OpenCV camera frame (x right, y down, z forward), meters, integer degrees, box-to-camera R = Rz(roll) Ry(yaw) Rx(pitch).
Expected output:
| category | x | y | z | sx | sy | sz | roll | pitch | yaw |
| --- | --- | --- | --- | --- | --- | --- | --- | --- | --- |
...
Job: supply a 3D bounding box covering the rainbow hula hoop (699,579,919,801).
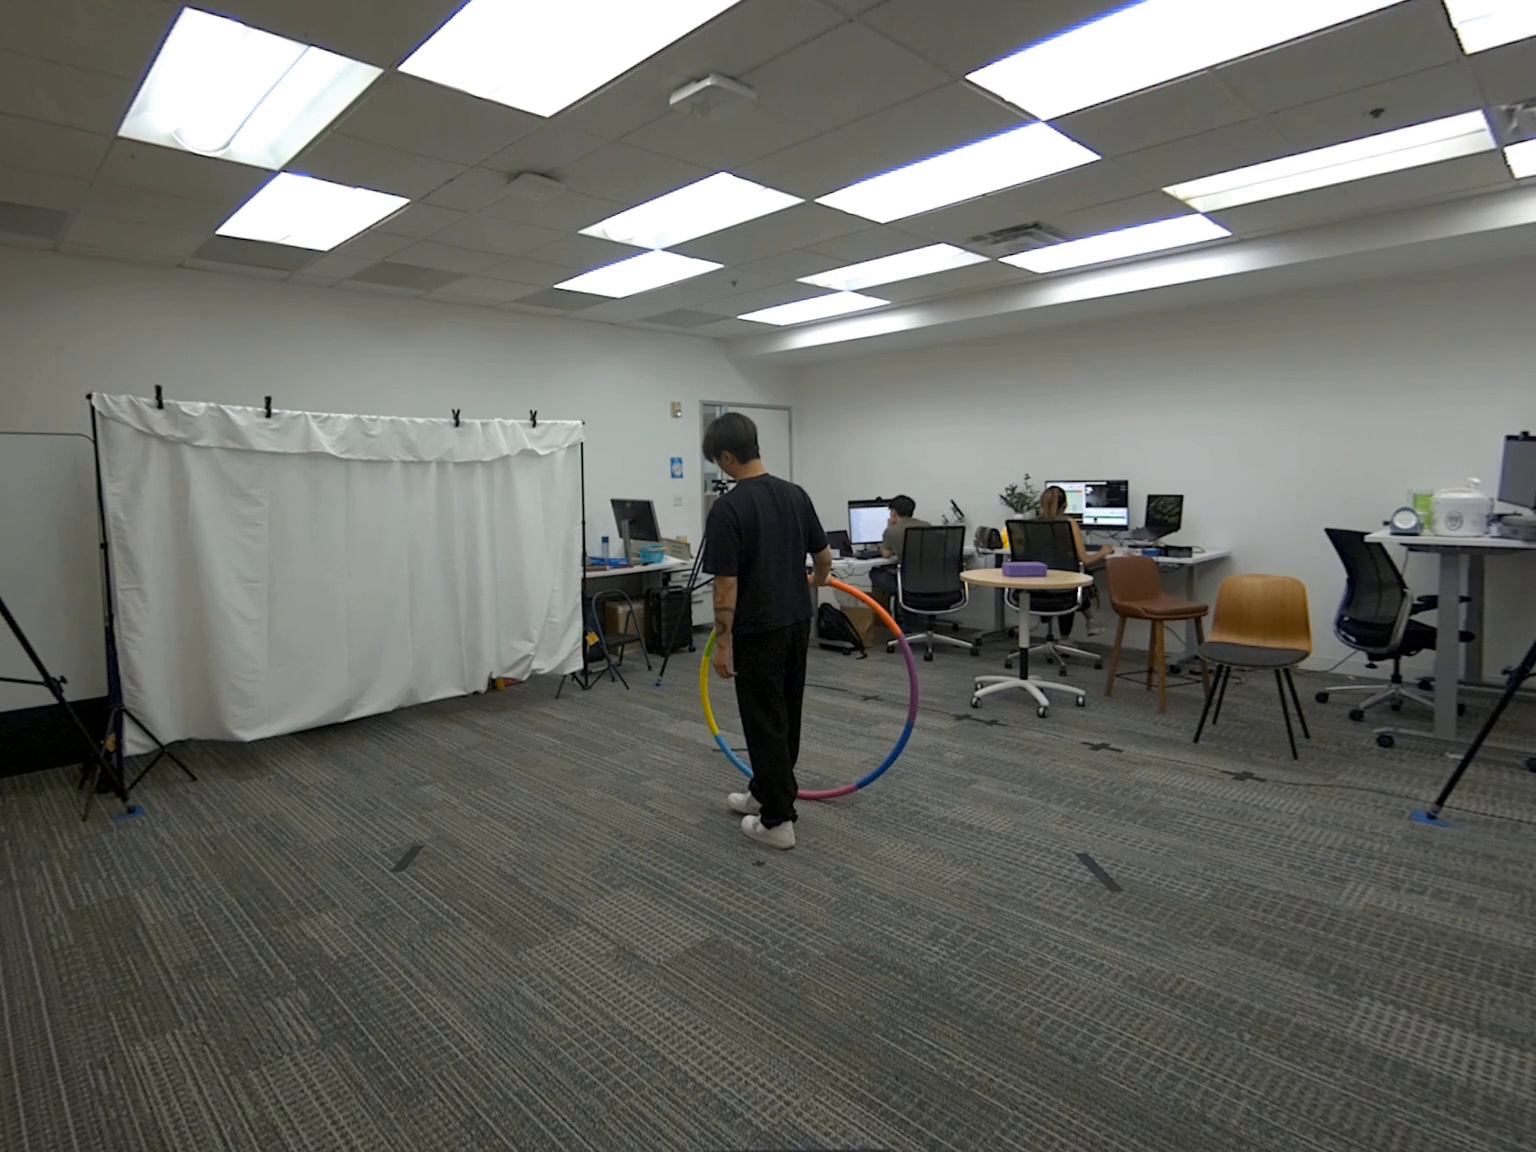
| category | x | y | z | sx | sy | sz | roll | pitch | yaw |
| --- | --- | --- | --- | --- | --- | --- | --- | --- | --- |
| rainbow hula hoop | 0.153 | 0.493 | 3.757 | 0.998 | 0.981 | 0.035 | 1 | -3 | 22 |
